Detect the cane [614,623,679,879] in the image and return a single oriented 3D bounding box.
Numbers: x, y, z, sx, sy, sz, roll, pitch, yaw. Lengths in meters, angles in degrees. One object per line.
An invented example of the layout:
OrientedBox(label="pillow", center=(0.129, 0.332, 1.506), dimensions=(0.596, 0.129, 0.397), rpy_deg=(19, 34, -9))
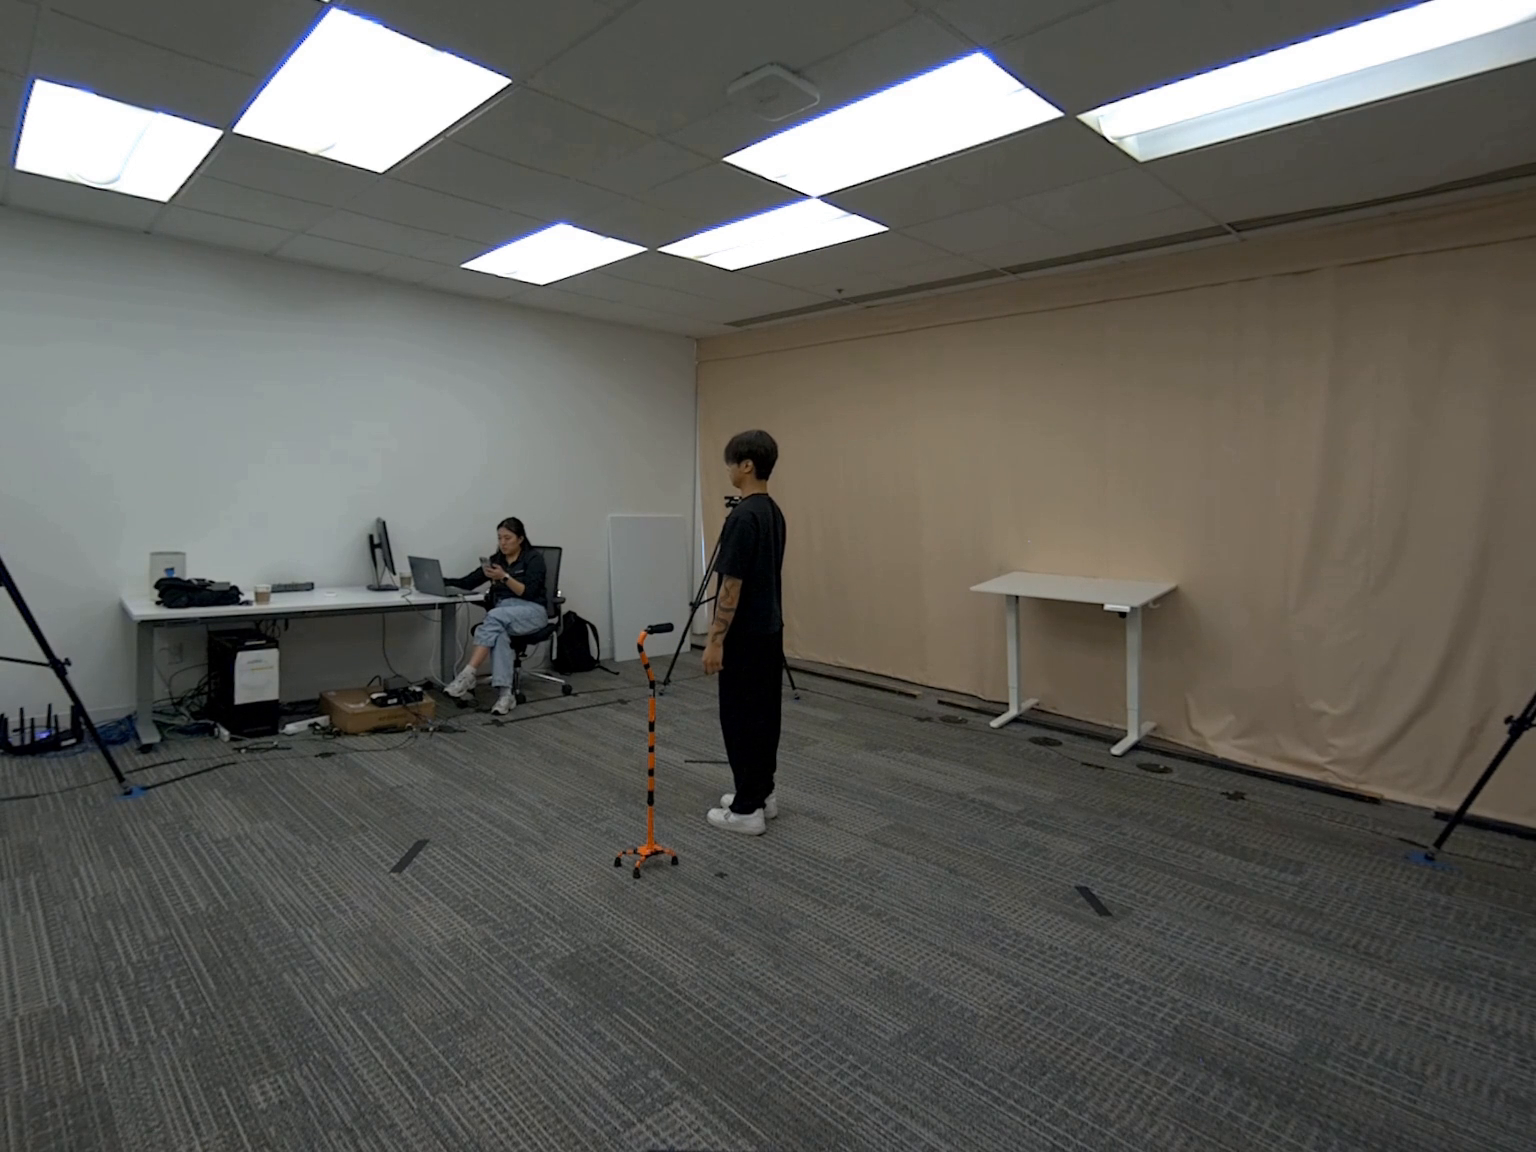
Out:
OrientedBox(label="cane", center=(-0.455, 0.641, 3.148), dimensions=(0.202, 0.905, 0.155), rpy_deg=(-2, 5, -43))
